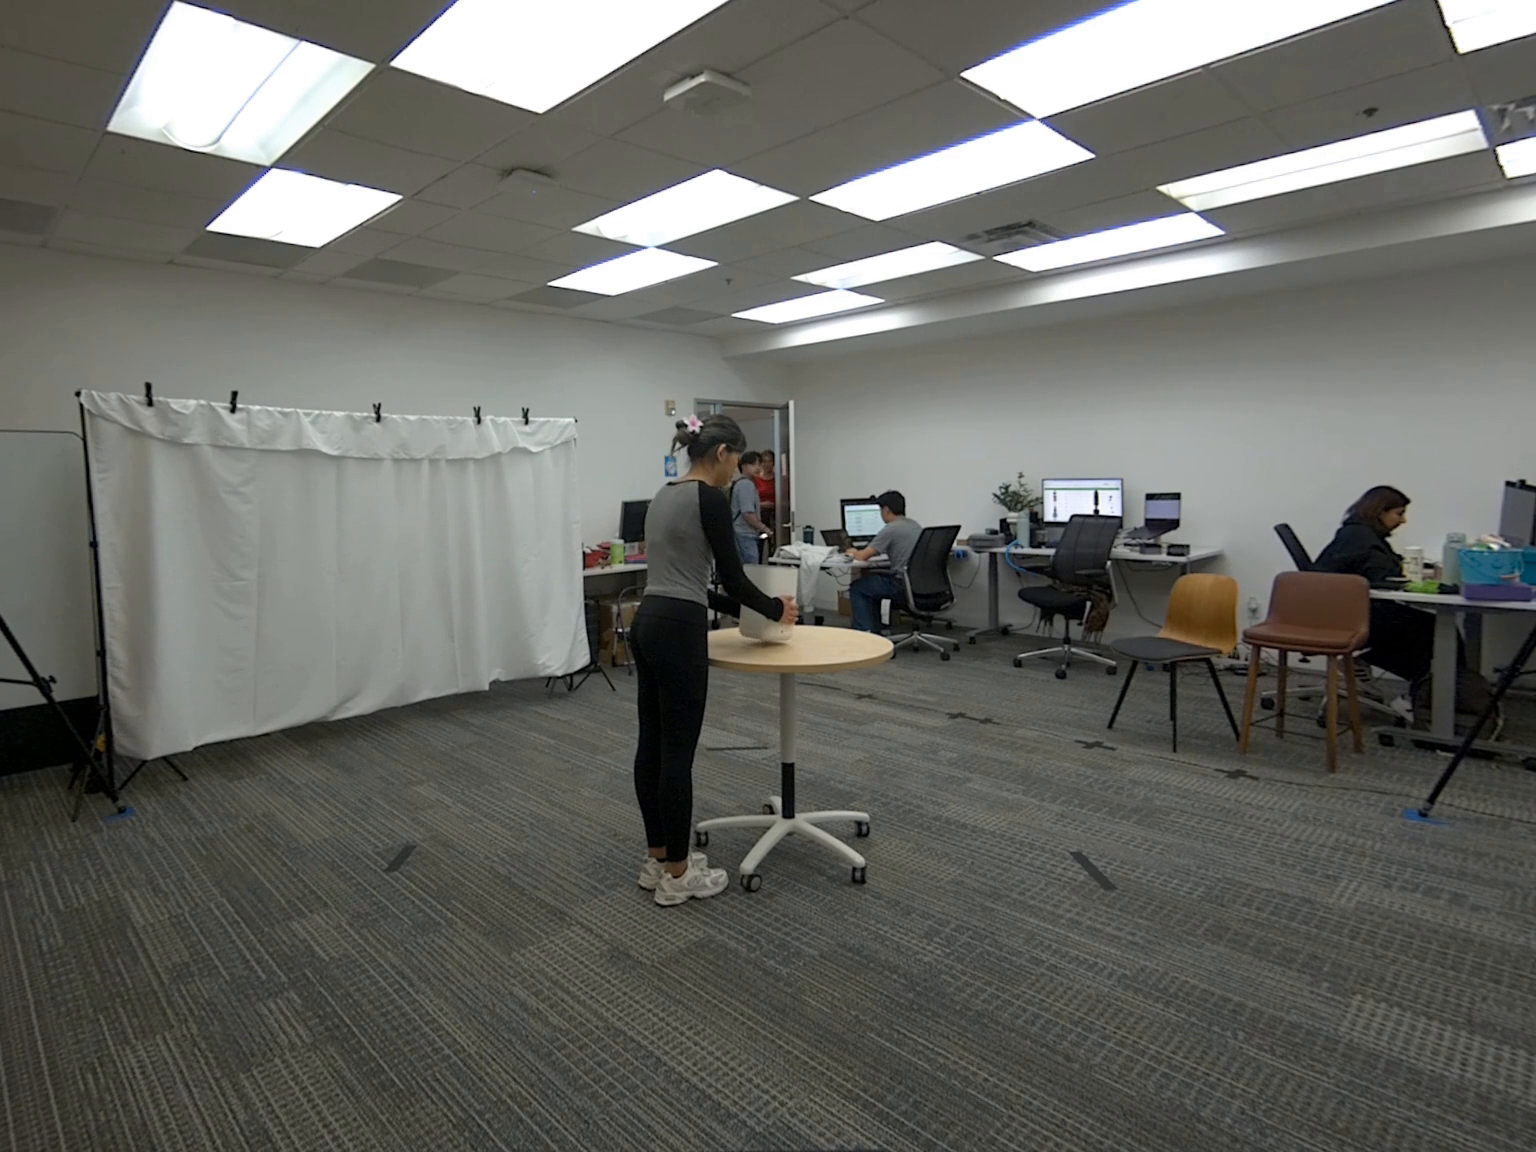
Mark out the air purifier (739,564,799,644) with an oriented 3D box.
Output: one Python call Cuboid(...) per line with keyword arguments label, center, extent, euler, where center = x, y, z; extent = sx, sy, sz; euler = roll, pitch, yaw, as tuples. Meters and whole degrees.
Cuboid(label="air purifier", center=(0.009, 0.095, 3.114), extent=(0.177, 0.265, 0.166), euler=(6, 1, 45))
